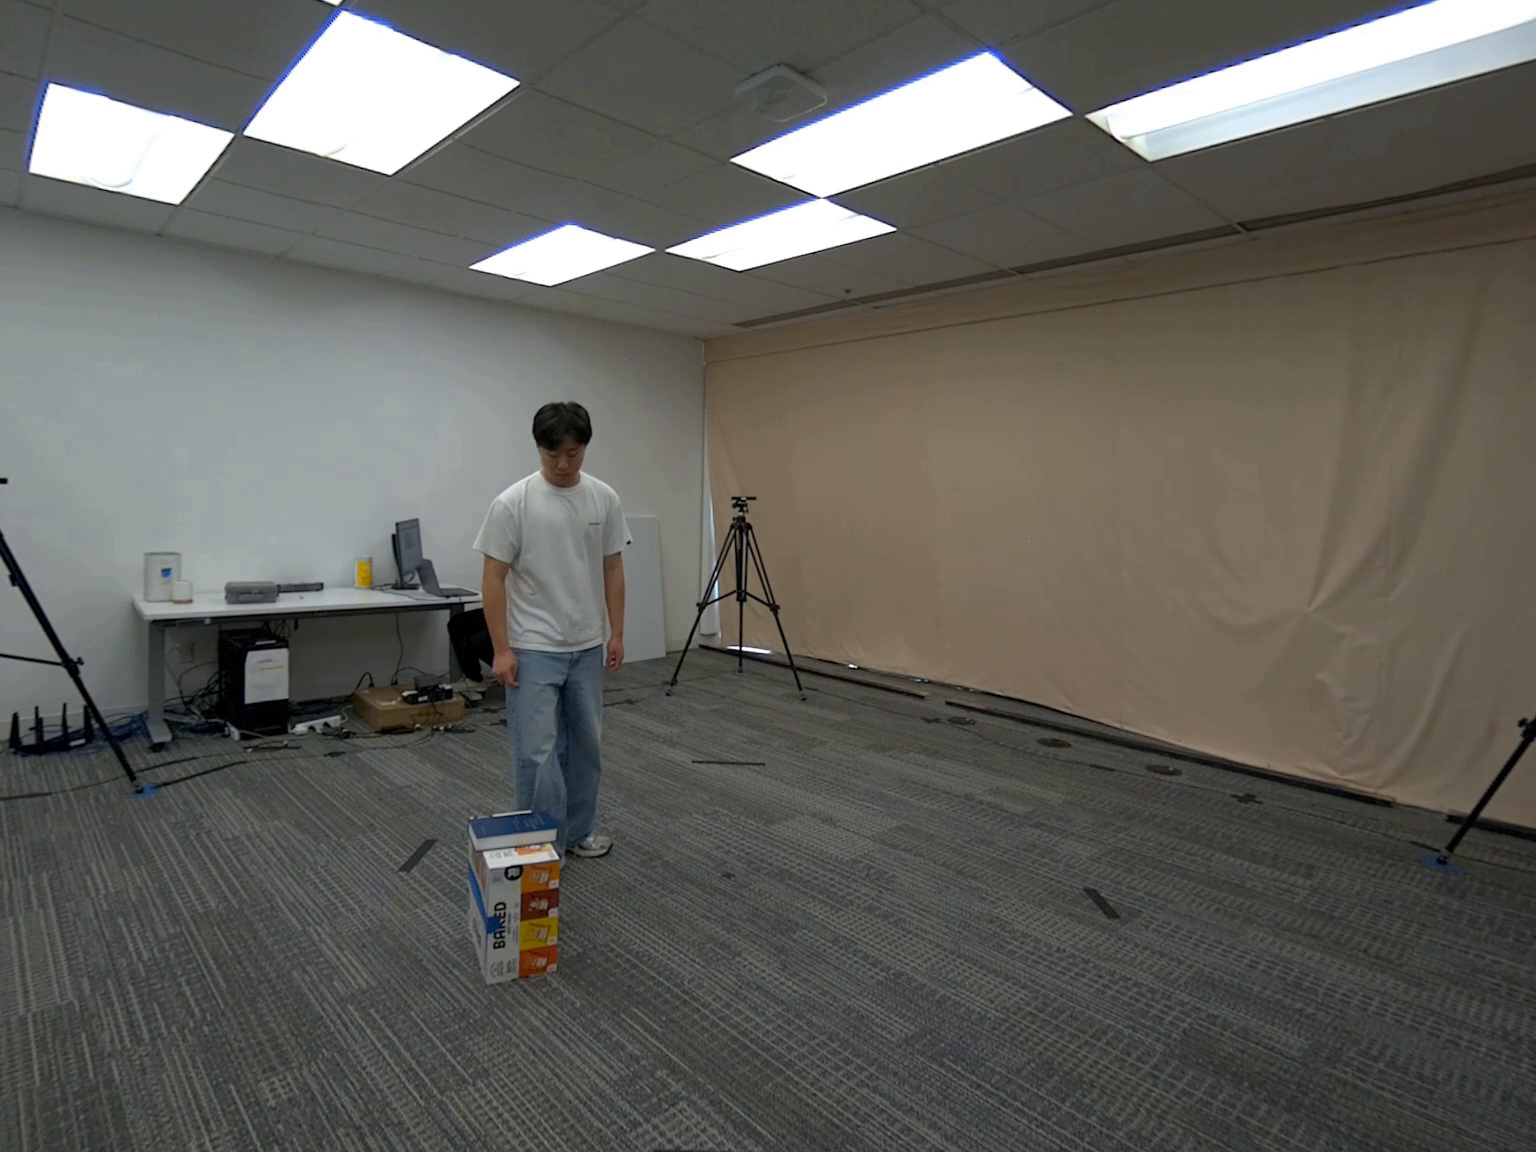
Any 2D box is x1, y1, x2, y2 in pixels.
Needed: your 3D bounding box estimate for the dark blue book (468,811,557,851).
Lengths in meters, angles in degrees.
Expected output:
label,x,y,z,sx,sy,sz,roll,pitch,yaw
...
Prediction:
label,x,y,z,sx,sy,sz,roll,pitch,yaw
dark blue book,-0.799,0.785,2.574,0.240,0.045,0.167,1,4,-26
